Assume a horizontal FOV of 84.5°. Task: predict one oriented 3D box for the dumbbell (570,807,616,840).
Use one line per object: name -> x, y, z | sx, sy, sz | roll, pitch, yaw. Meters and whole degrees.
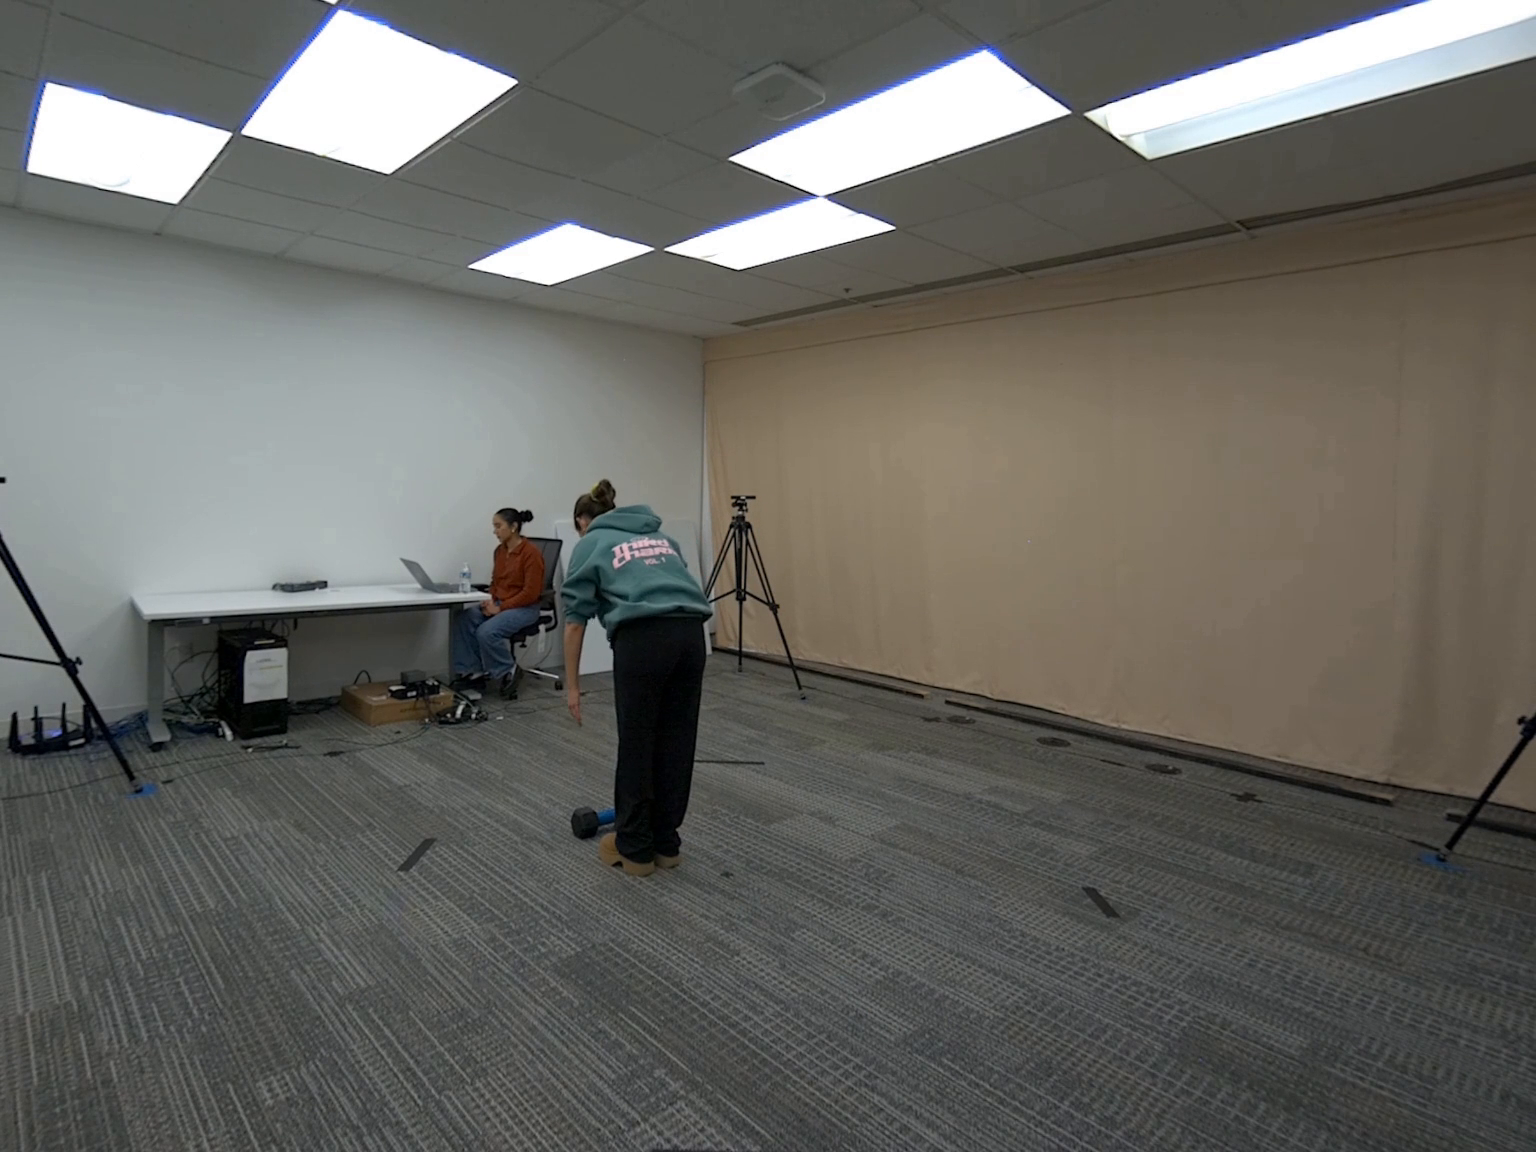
dumbbell -> -0.675, 1.000, 3.493 | 0.287, 0.125, 0.109 | -3, -25, -39
